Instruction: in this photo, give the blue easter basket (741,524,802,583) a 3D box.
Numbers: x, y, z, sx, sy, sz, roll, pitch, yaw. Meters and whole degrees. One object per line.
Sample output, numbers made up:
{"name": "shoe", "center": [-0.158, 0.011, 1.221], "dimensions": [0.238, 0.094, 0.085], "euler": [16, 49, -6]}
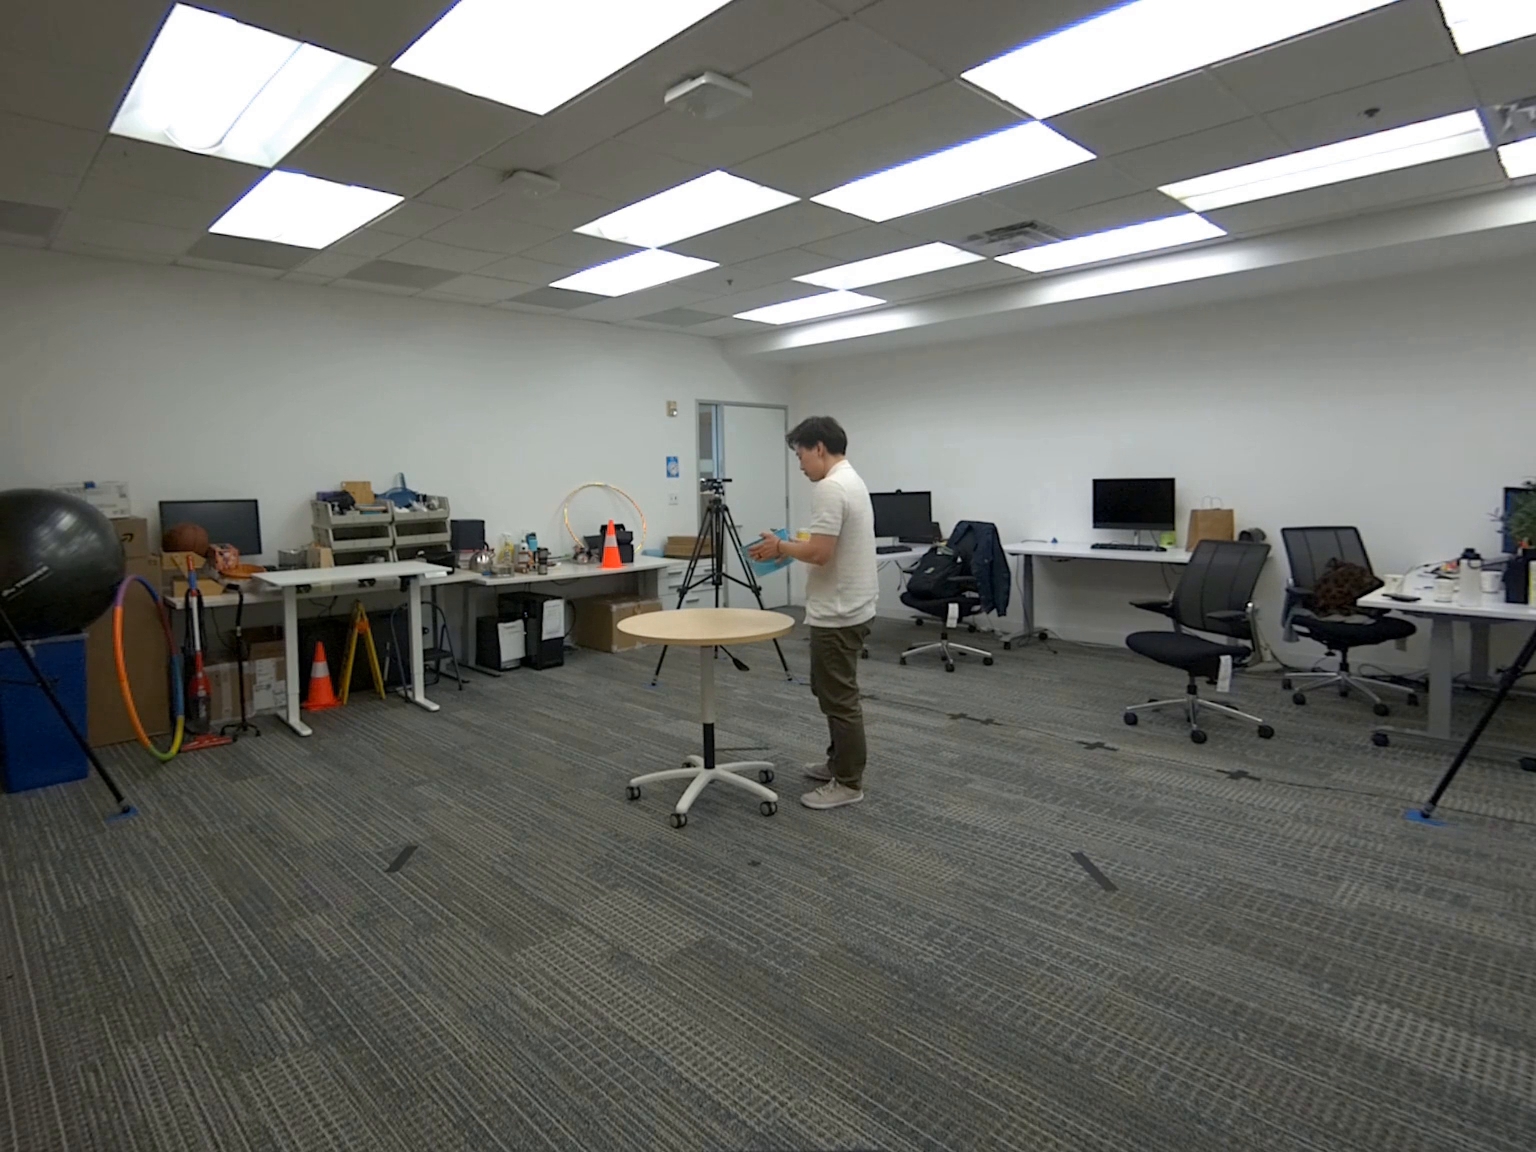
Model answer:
{"name": "blue easter basket", "center": [0.027, -0.097, 3.729], "dimensions": [0.243, 0.156, 0.243], "euler": [-26, 0, -2]}
